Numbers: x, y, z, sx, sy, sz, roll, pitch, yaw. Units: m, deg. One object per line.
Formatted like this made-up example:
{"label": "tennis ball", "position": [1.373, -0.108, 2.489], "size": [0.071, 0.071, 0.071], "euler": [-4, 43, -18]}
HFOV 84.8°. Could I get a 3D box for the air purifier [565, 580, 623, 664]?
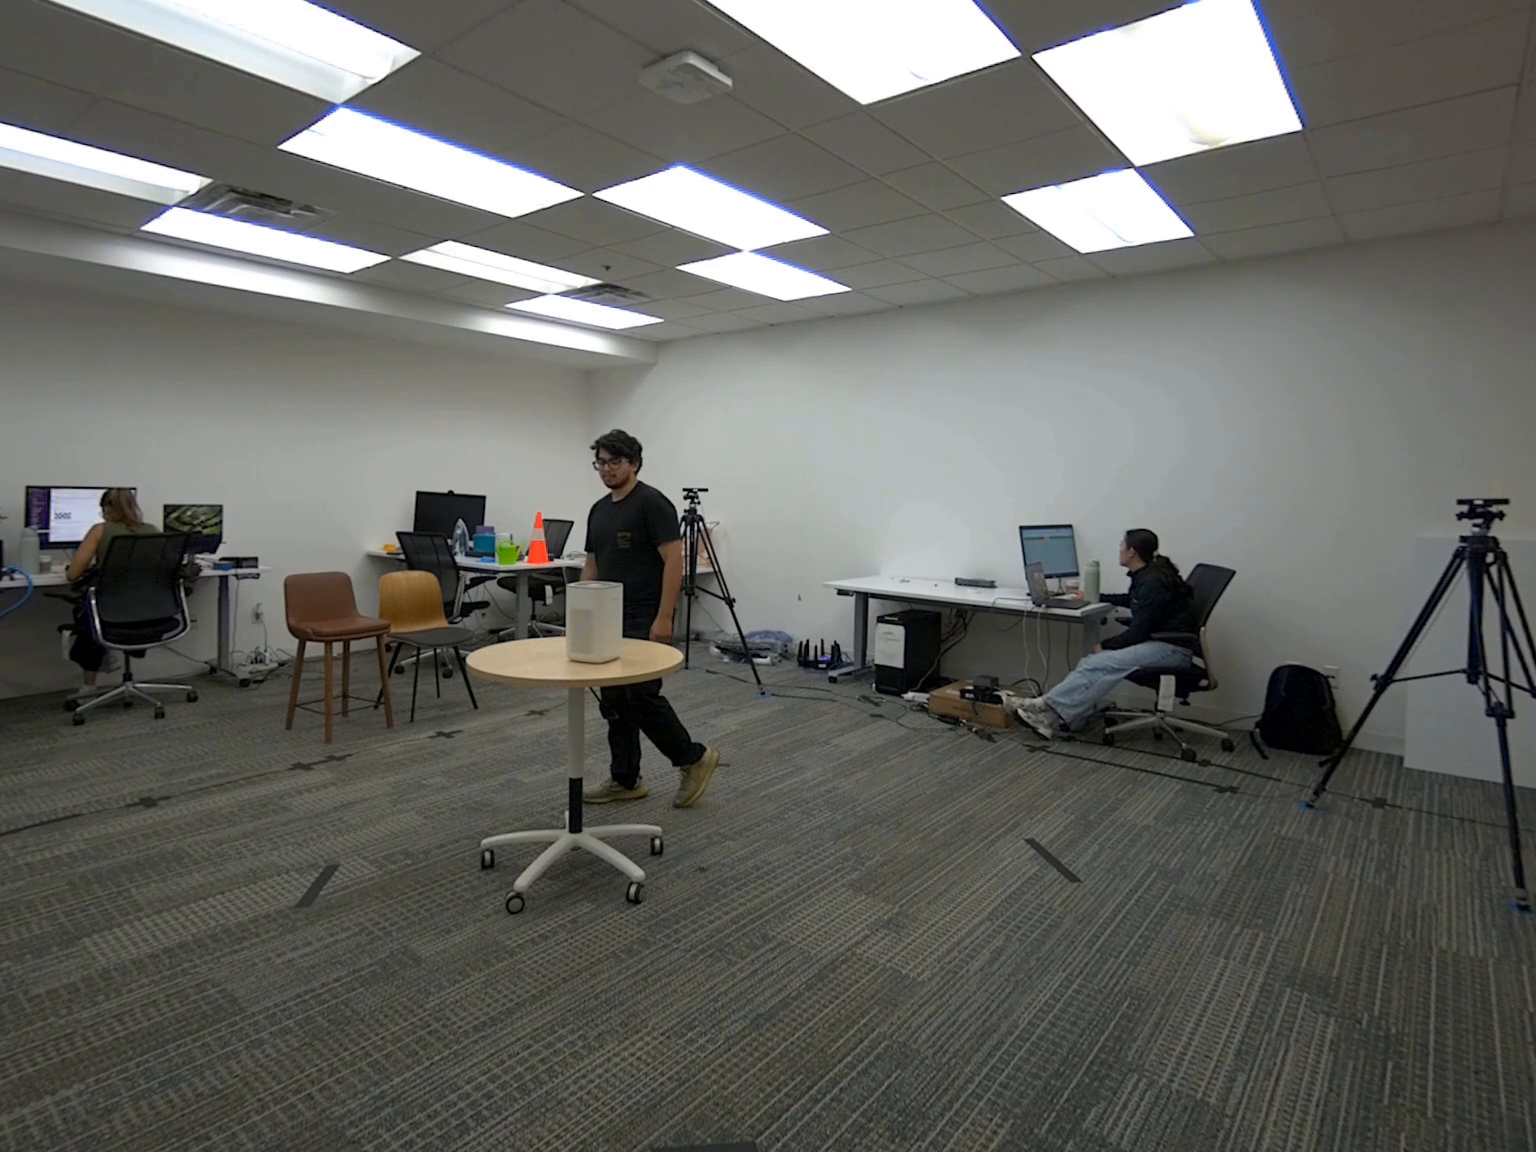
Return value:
{"label": "air purifier", "position": [-0.626, 0.154, 2.983], "size": [0.175, 0.264, 0.168], "euler": [4, 5, 17]}
